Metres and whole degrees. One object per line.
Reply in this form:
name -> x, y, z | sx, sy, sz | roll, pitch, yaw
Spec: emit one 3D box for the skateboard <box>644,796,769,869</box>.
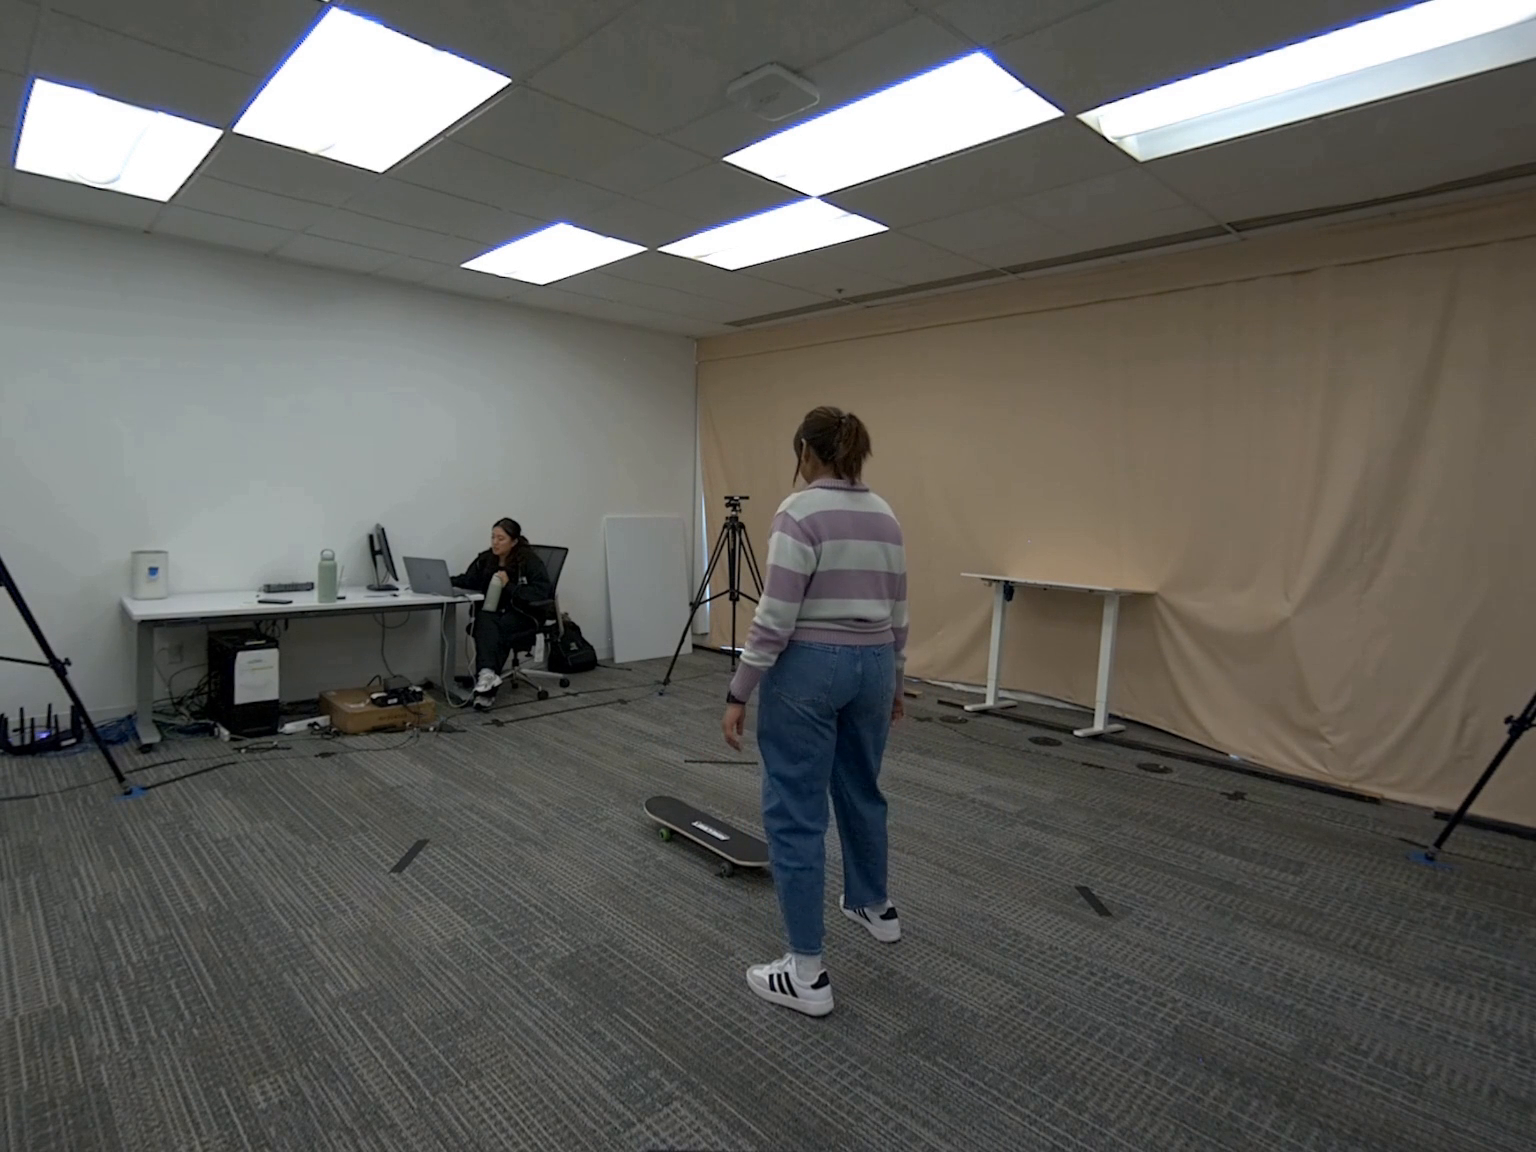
skateboard -> -0.239, 1.029, 3.300 | 0.189, 0.110, 0.806 | -2, 6, -41
